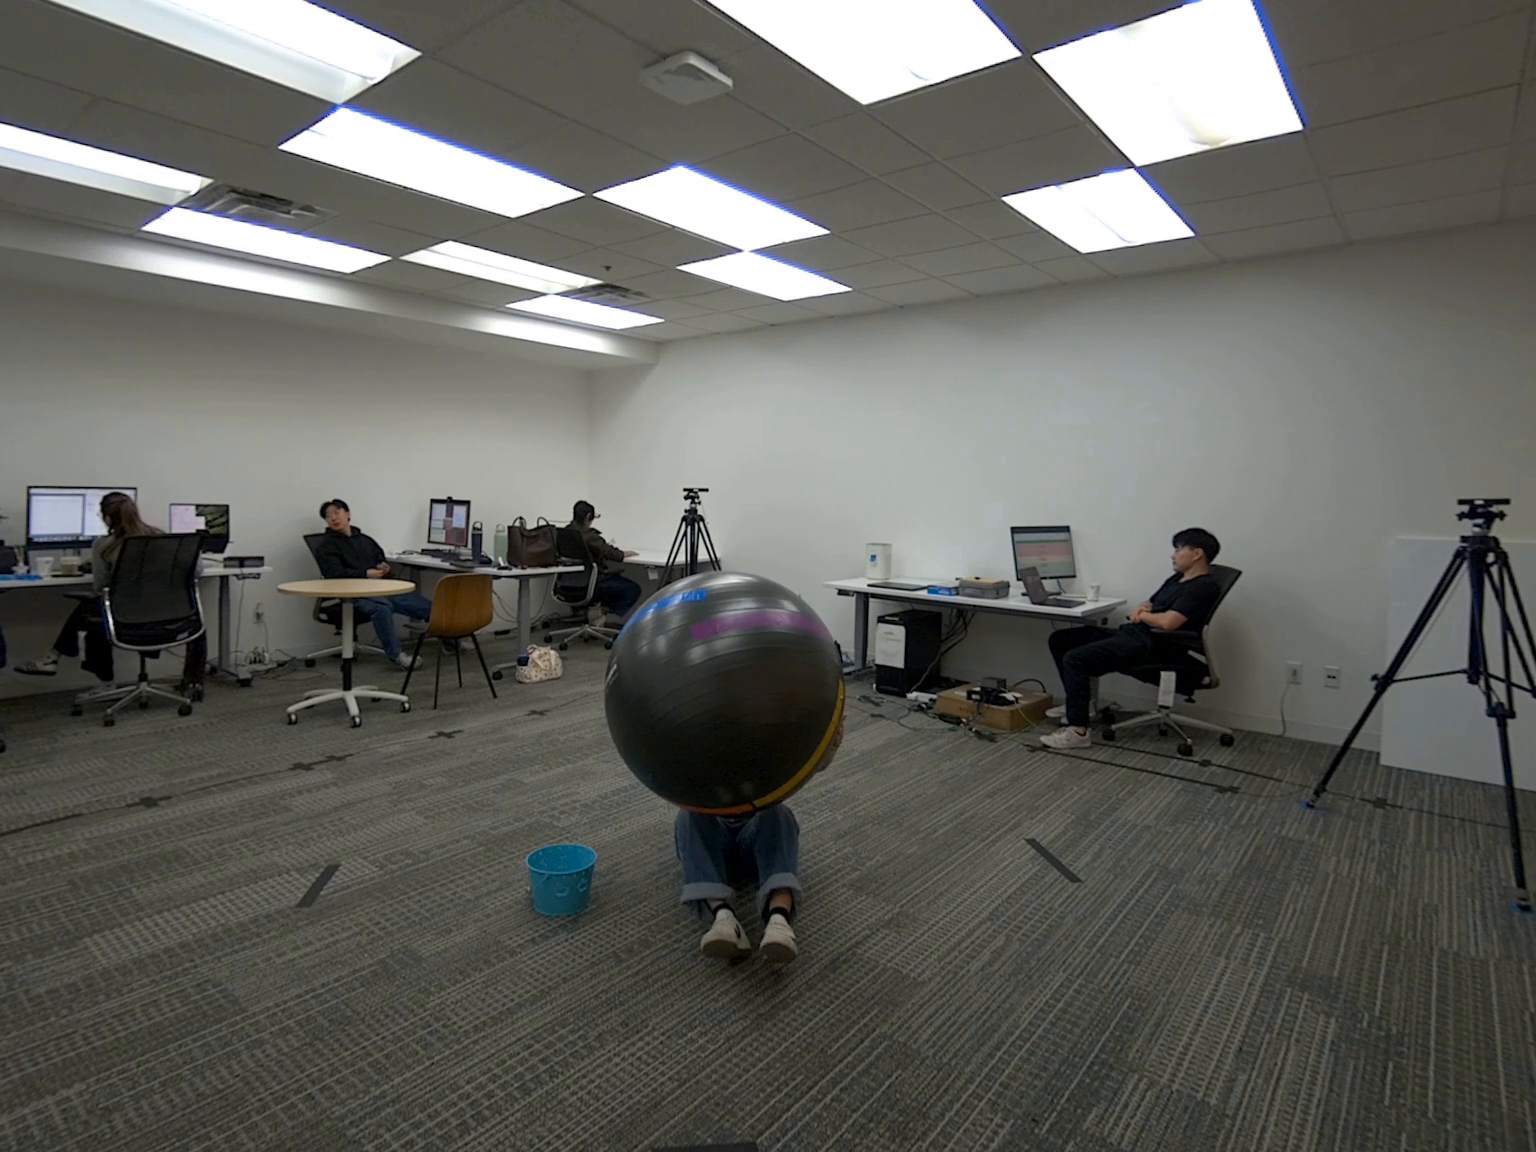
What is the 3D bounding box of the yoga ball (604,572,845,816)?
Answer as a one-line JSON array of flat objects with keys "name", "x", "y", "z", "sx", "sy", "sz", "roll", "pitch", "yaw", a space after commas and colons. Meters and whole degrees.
[{"name": "yoga ball", "x": -0.146, "y": 0.362, "z": 2.688, "sx": 0.757, "sy": 0.755, "sz": 0.762, "roll": 1, "pitch": 4, "yaw": -2}]
